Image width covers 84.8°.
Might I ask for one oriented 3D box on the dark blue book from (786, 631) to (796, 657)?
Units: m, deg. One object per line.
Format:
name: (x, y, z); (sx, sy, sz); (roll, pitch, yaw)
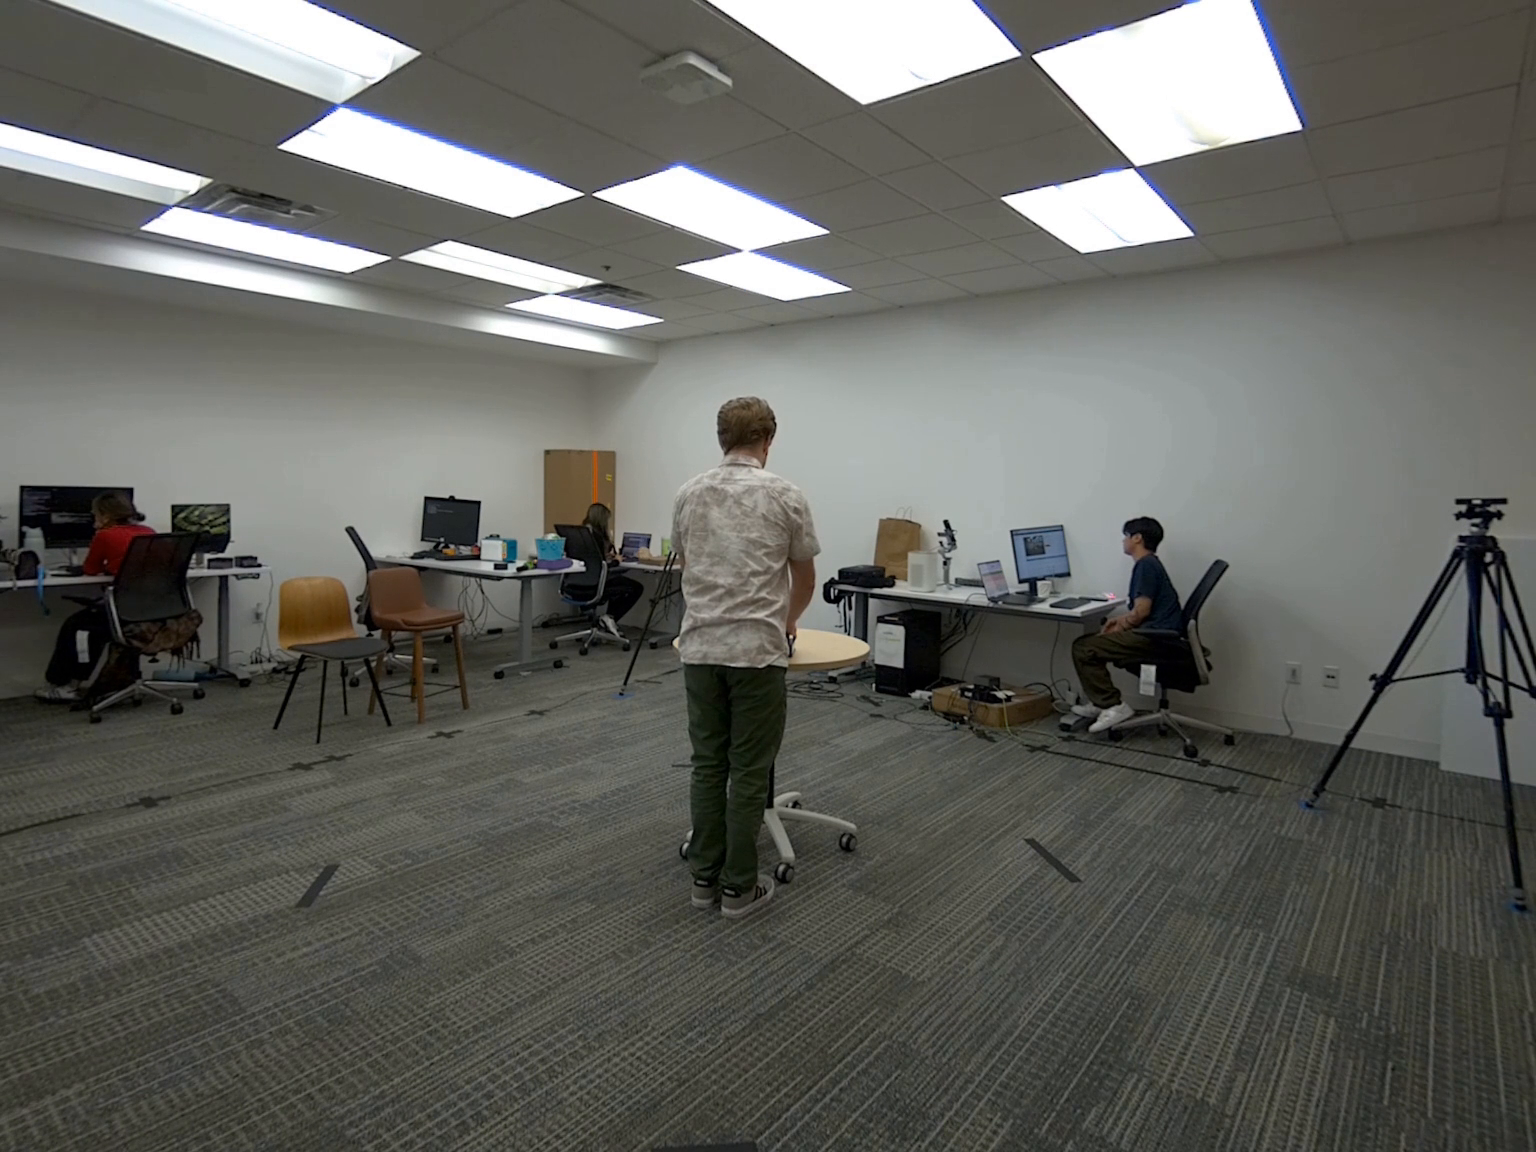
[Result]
dark blue book: (-0.026, 0.260, 3.149); (0.248, 0.045, 0.162); (1, 5, 9)
